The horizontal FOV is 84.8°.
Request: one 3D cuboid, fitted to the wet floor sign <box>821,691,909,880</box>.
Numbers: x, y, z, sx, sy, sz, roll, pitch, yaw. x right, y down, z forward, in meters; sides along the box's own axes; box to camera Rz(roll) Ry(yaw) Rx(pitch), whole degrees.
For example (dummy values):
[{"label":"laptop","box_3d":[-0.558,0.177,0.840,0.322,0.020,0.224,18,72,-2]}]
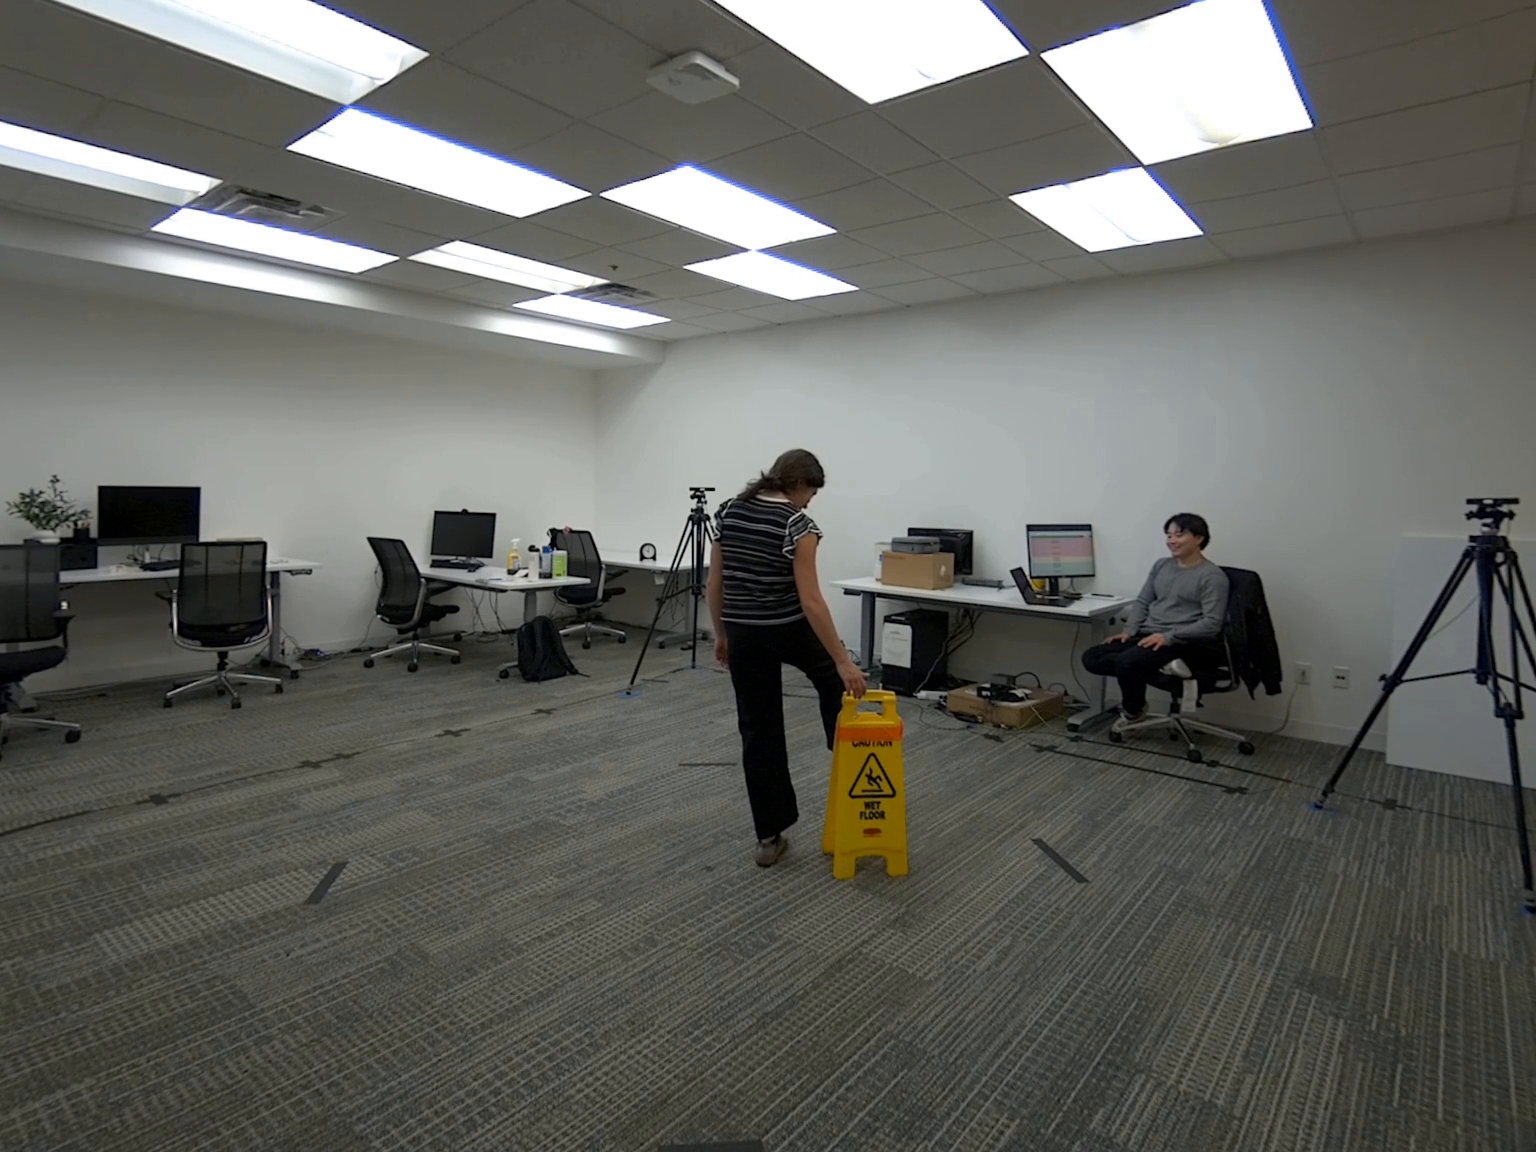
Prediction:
[{"label":"wet floor sign","box_3d":[0.365,0.747,3.154,0.280,0.642,0.294,-1,6,-9]}]
